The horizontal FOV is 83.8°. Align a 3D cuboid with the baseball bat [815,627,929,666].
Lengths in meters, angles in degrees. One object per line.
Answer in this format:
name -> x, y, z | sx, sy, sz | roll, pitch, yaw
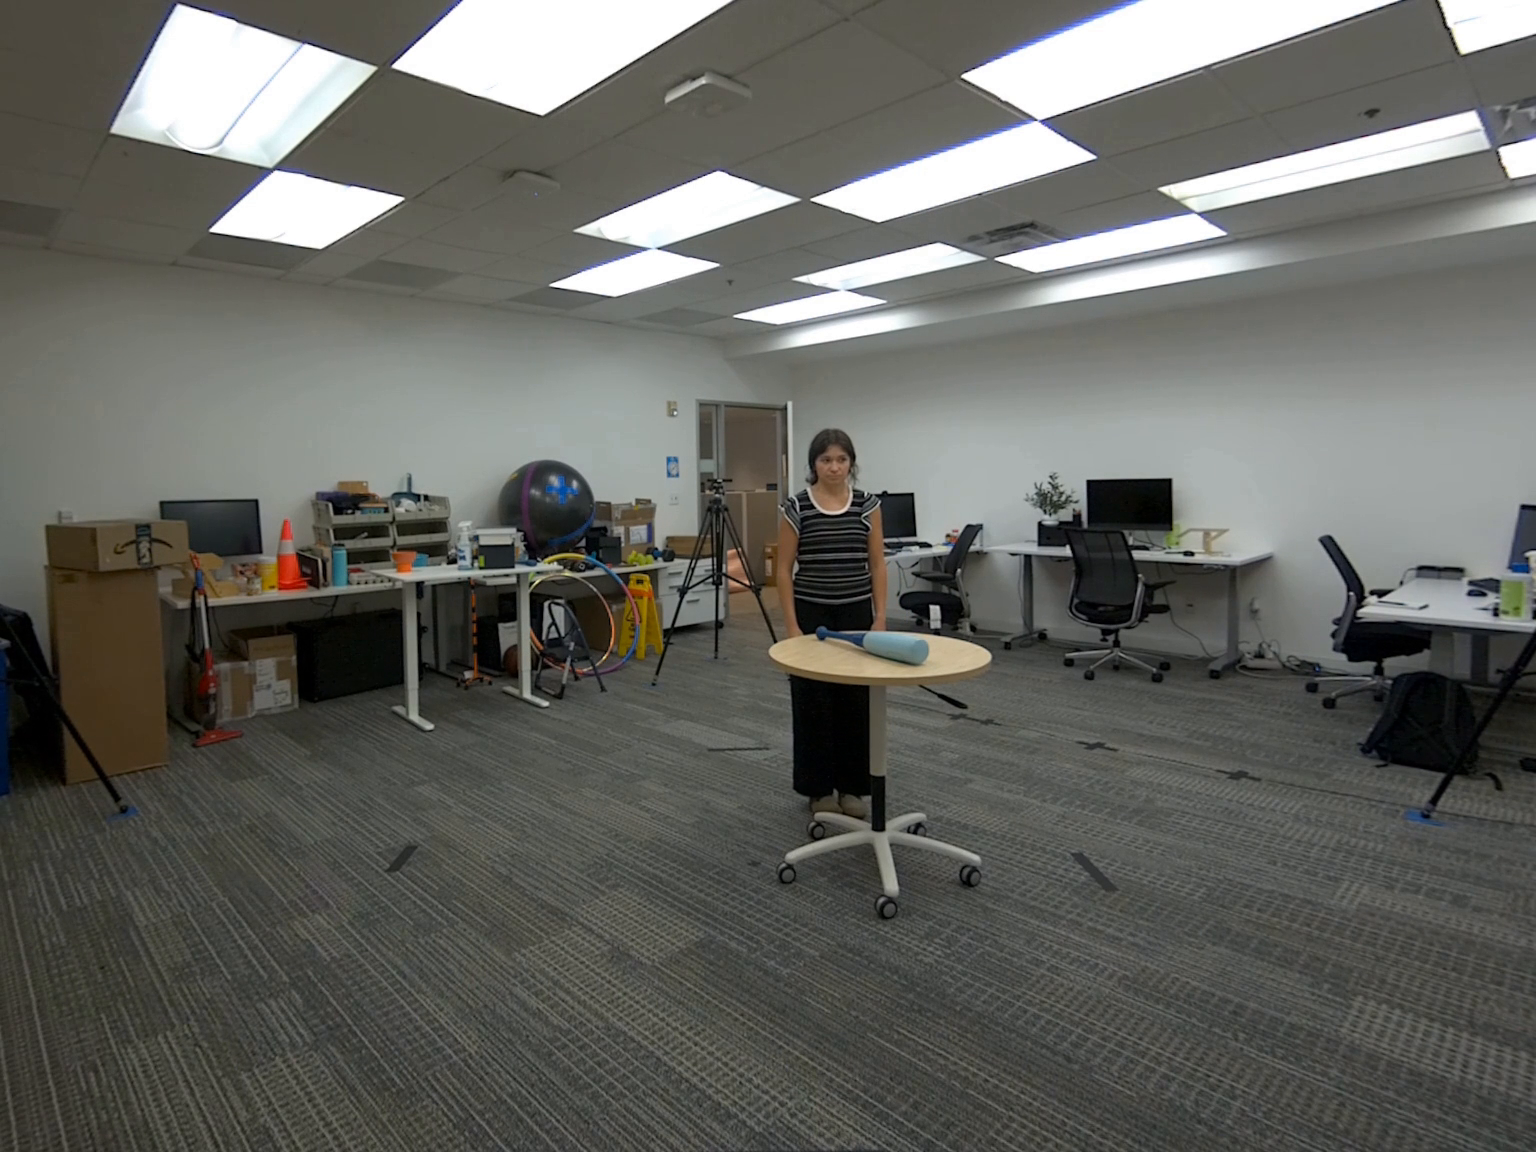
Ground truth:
baseball bat -> 0.344, 0.235, 3.000 | 0.087, 0.089, 0.558 | -4, 5, -32
